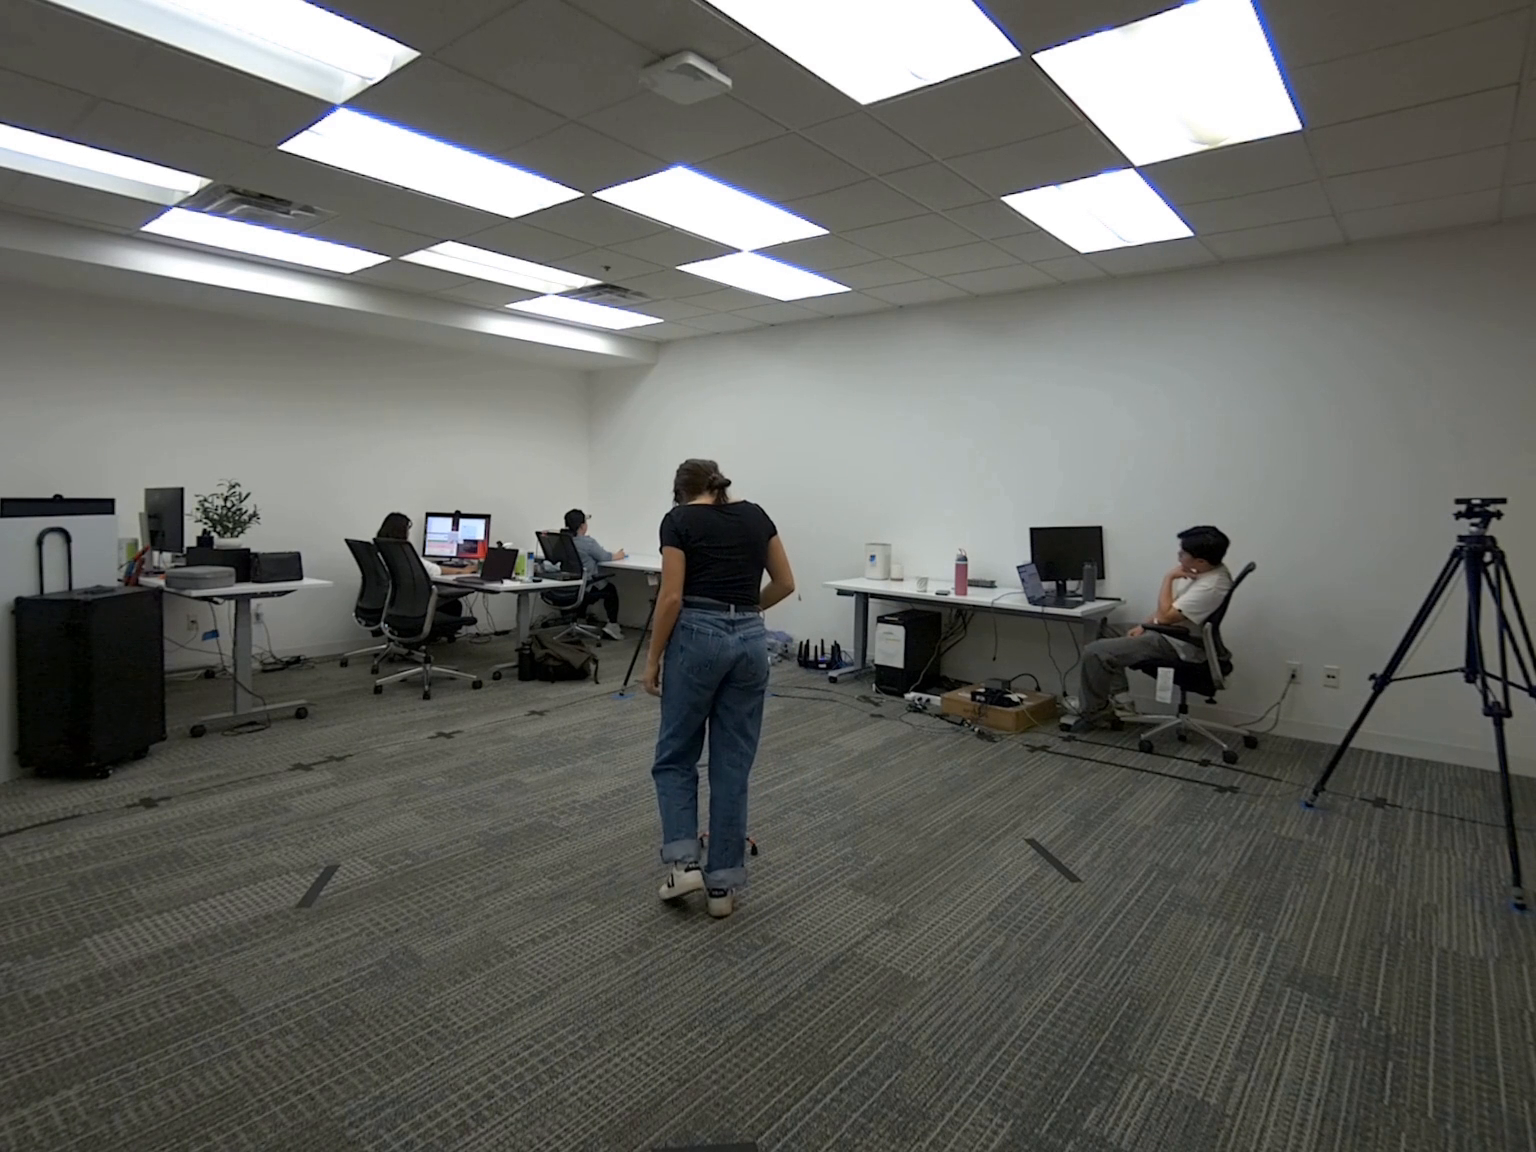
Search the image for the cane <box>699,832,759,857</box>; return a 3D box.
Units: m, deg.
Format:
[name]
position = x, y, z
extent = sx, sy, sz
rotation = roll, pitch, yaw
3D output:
[cane]
position = -0.140, 0.589, 3.256
extent = 0.147, 0.906, 0.213
rotation = -1, 3, -42
